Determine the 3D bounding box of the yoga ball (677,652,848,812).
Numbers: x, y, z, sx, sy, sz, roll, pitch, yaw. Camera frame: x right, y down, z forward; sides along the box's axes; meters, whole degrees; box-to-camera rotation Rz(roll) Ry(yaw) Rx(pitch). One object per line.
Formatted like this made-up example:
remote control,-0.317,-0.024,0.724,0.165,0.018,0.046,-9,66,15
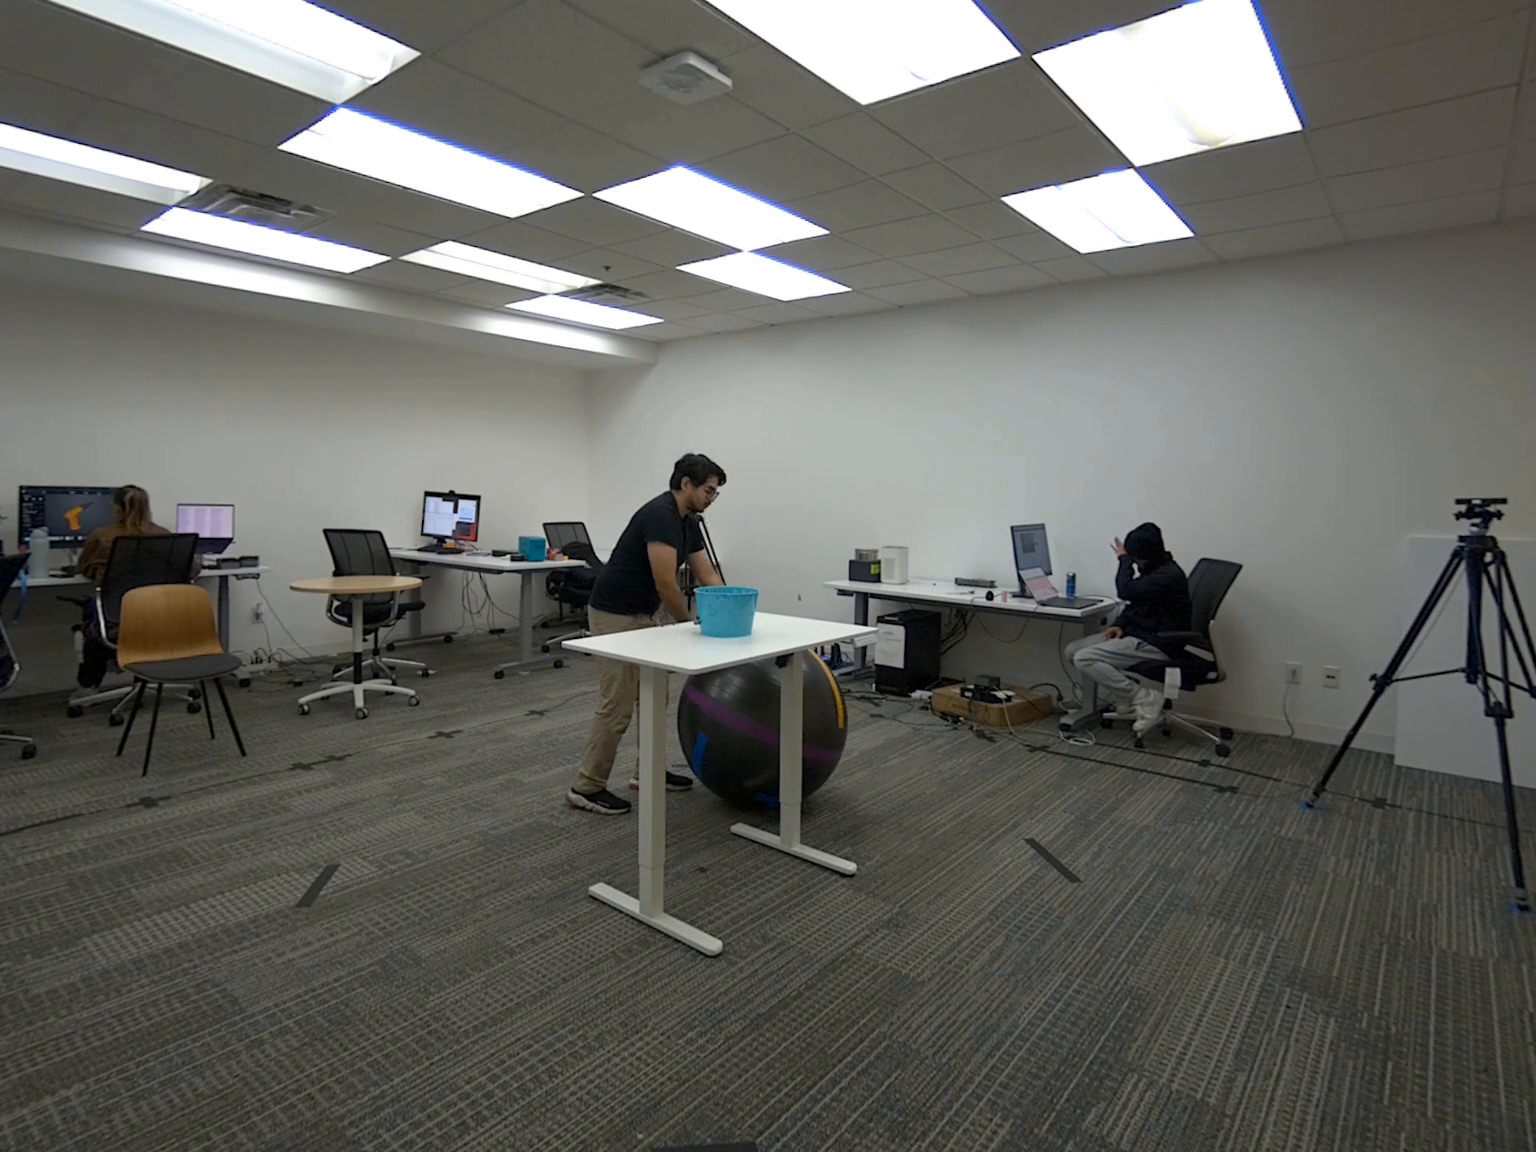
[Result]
yoga ball,-0.033,0.648,3.803,0.757,0.755,0.762,1,4,-2
